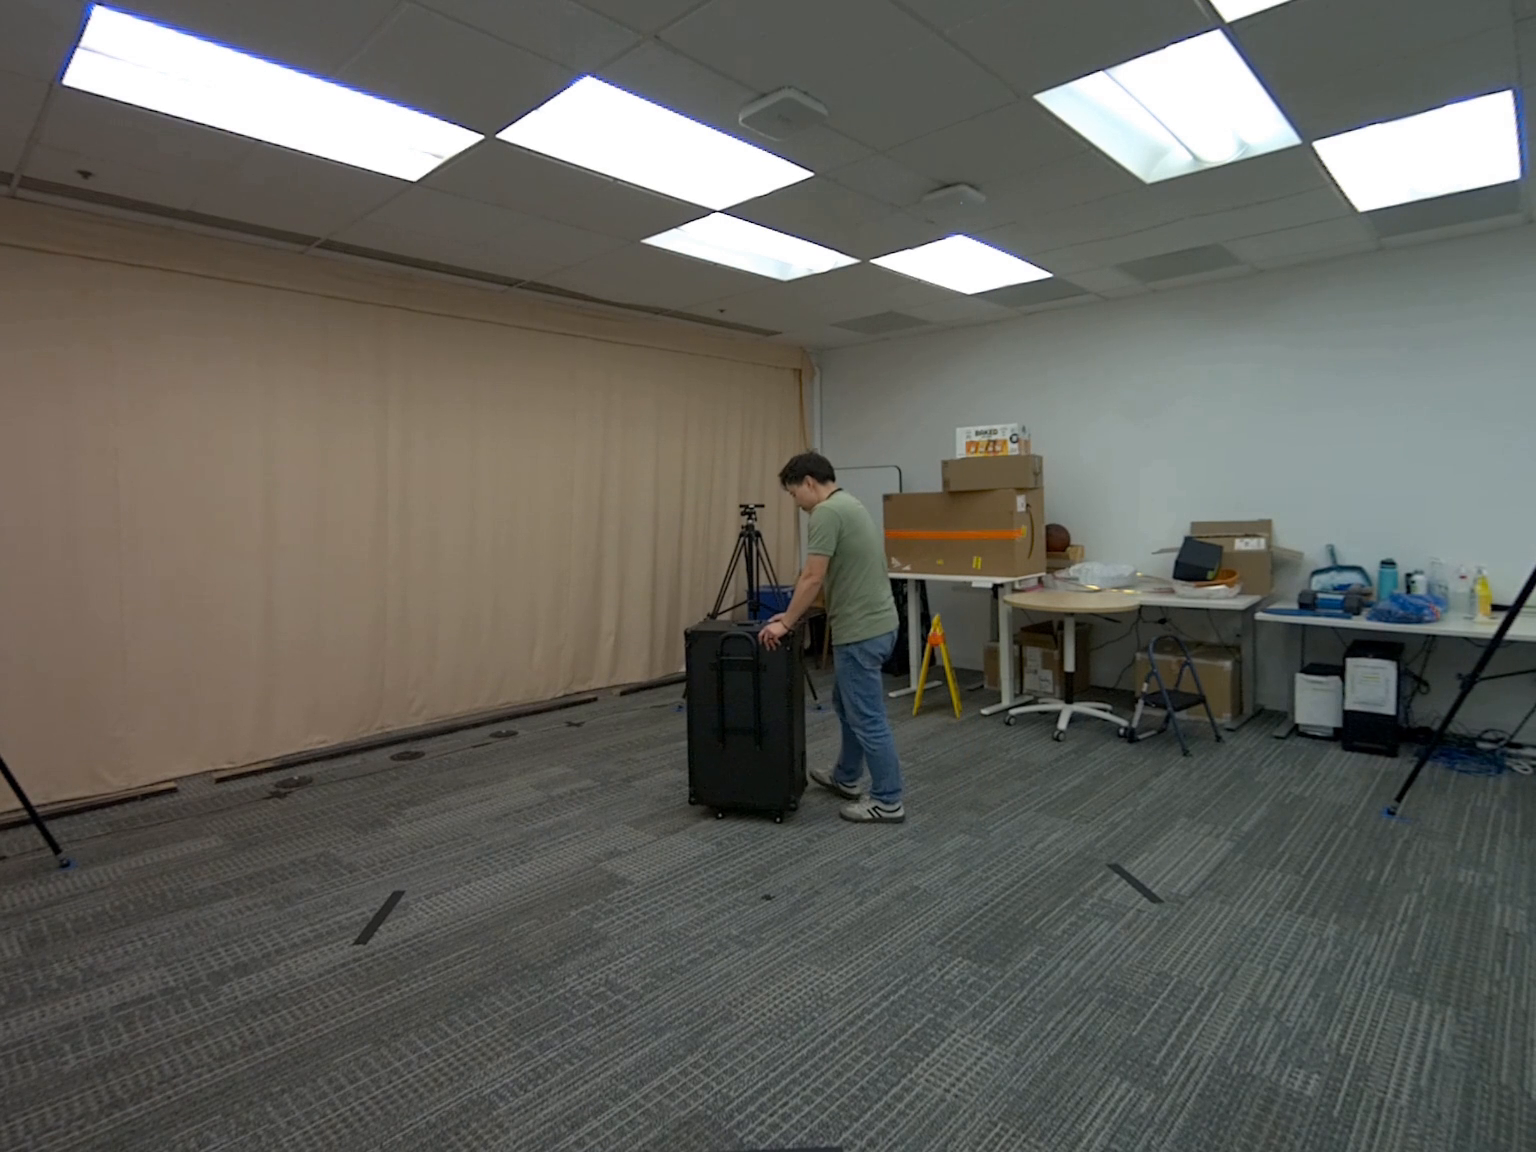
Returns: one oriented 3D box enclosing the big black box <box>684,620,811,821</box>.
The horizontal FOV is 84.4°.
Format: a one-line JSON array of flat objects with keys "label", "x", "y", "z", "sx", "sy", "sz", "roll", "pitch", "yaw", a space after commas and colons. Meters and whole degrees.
[{"label": "big black box", "x": -0.083, "y": 0.654, "z": 3.822, "sx": 0.529, "sy": 0.859, "sz": 0.391, "roll": 1, "pitch": 4, "yaw": 12}]
